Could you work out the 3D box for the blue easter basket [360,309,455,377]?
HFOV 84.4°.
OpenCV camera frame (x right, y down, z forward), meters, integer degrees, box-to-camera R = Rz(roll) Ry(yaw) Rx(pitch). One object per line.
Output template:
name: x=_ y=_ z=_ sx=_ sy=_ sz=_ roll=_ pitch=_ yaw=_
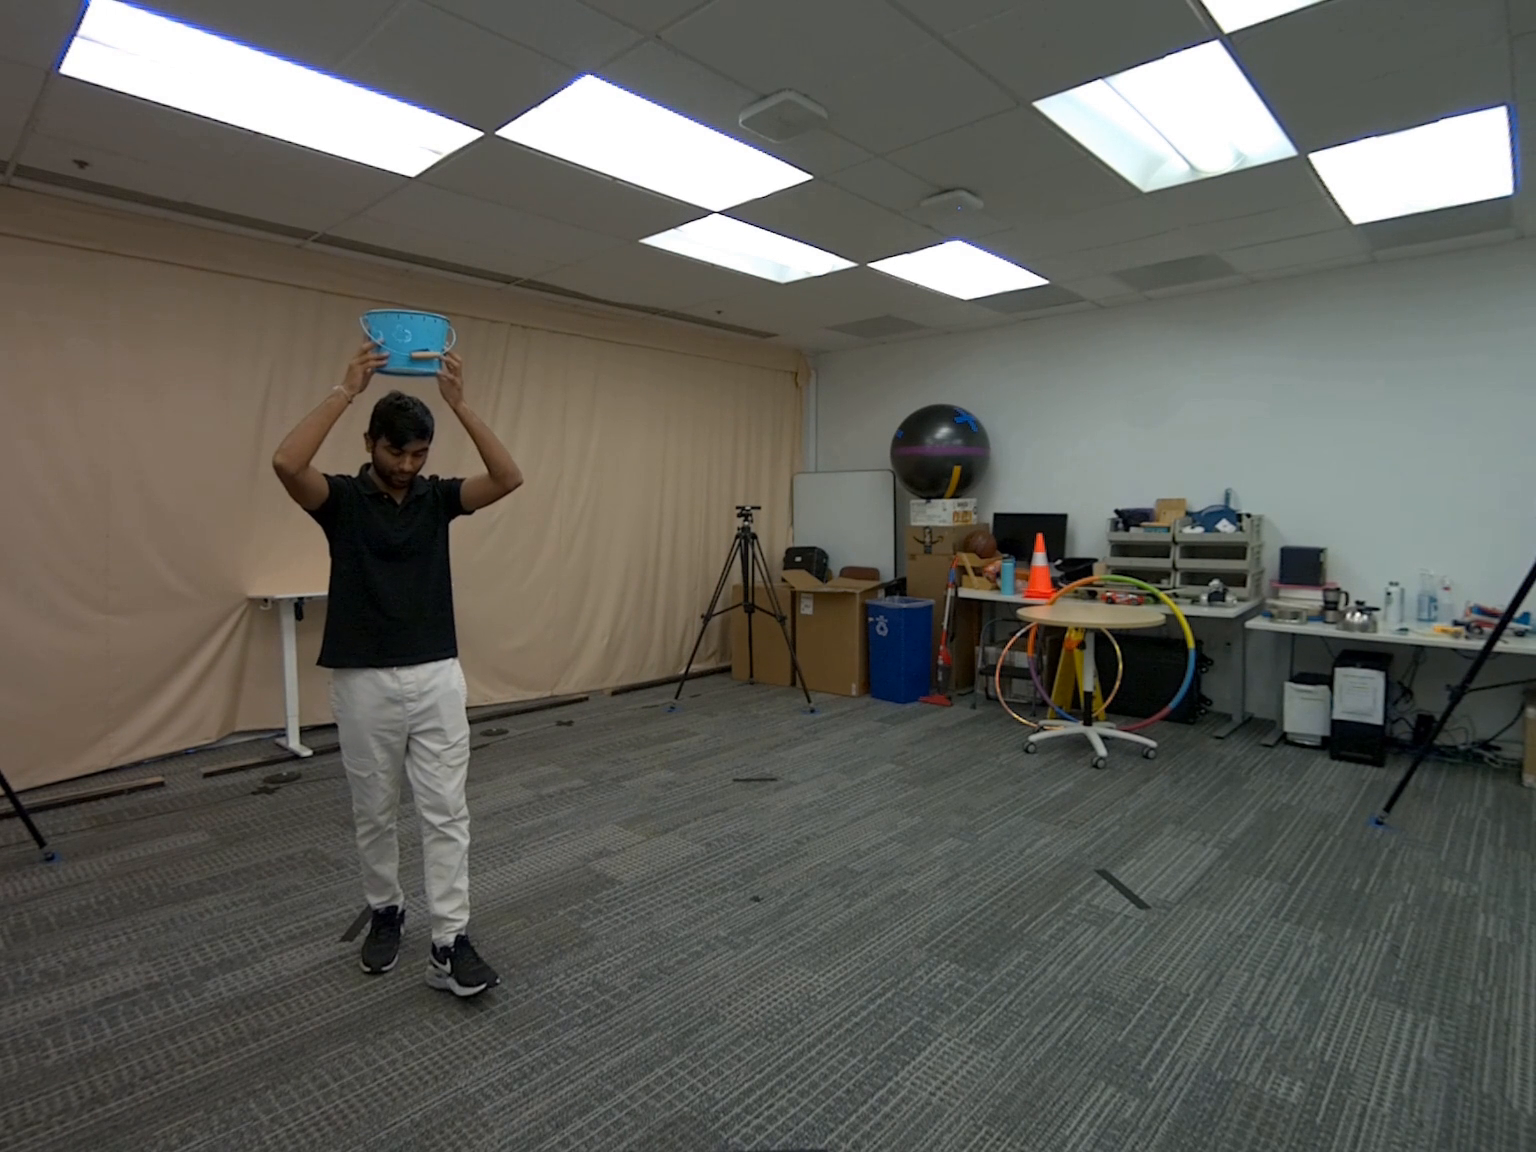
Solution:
blue easter basket: x=-1.026 y=-0.649 z=2.343 sx=0.243 sy=0.155 sz=0.244 roll=0 pitch=4 yaw=-2
